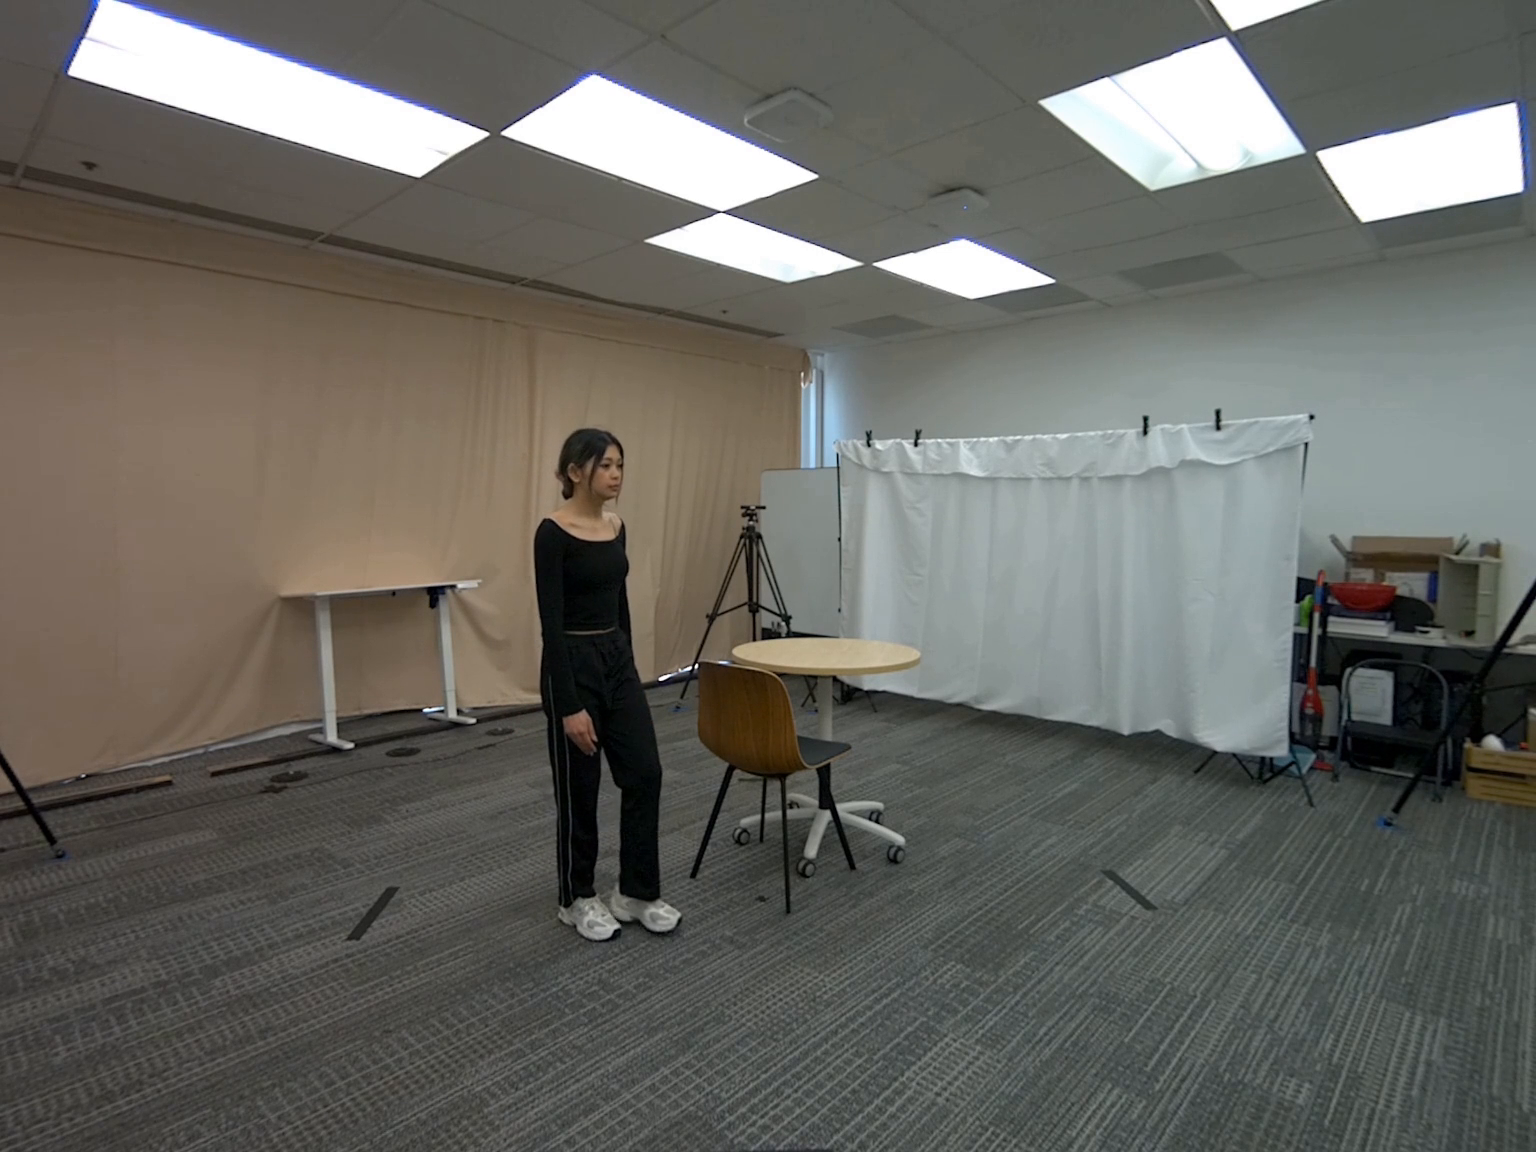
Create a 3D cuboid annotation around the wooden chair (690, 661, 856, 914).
[{"bbox_3d":[0.026,0.701,3.163,0.493,0.873,0.509,2,8,38],"label":"wooden chair"}]
